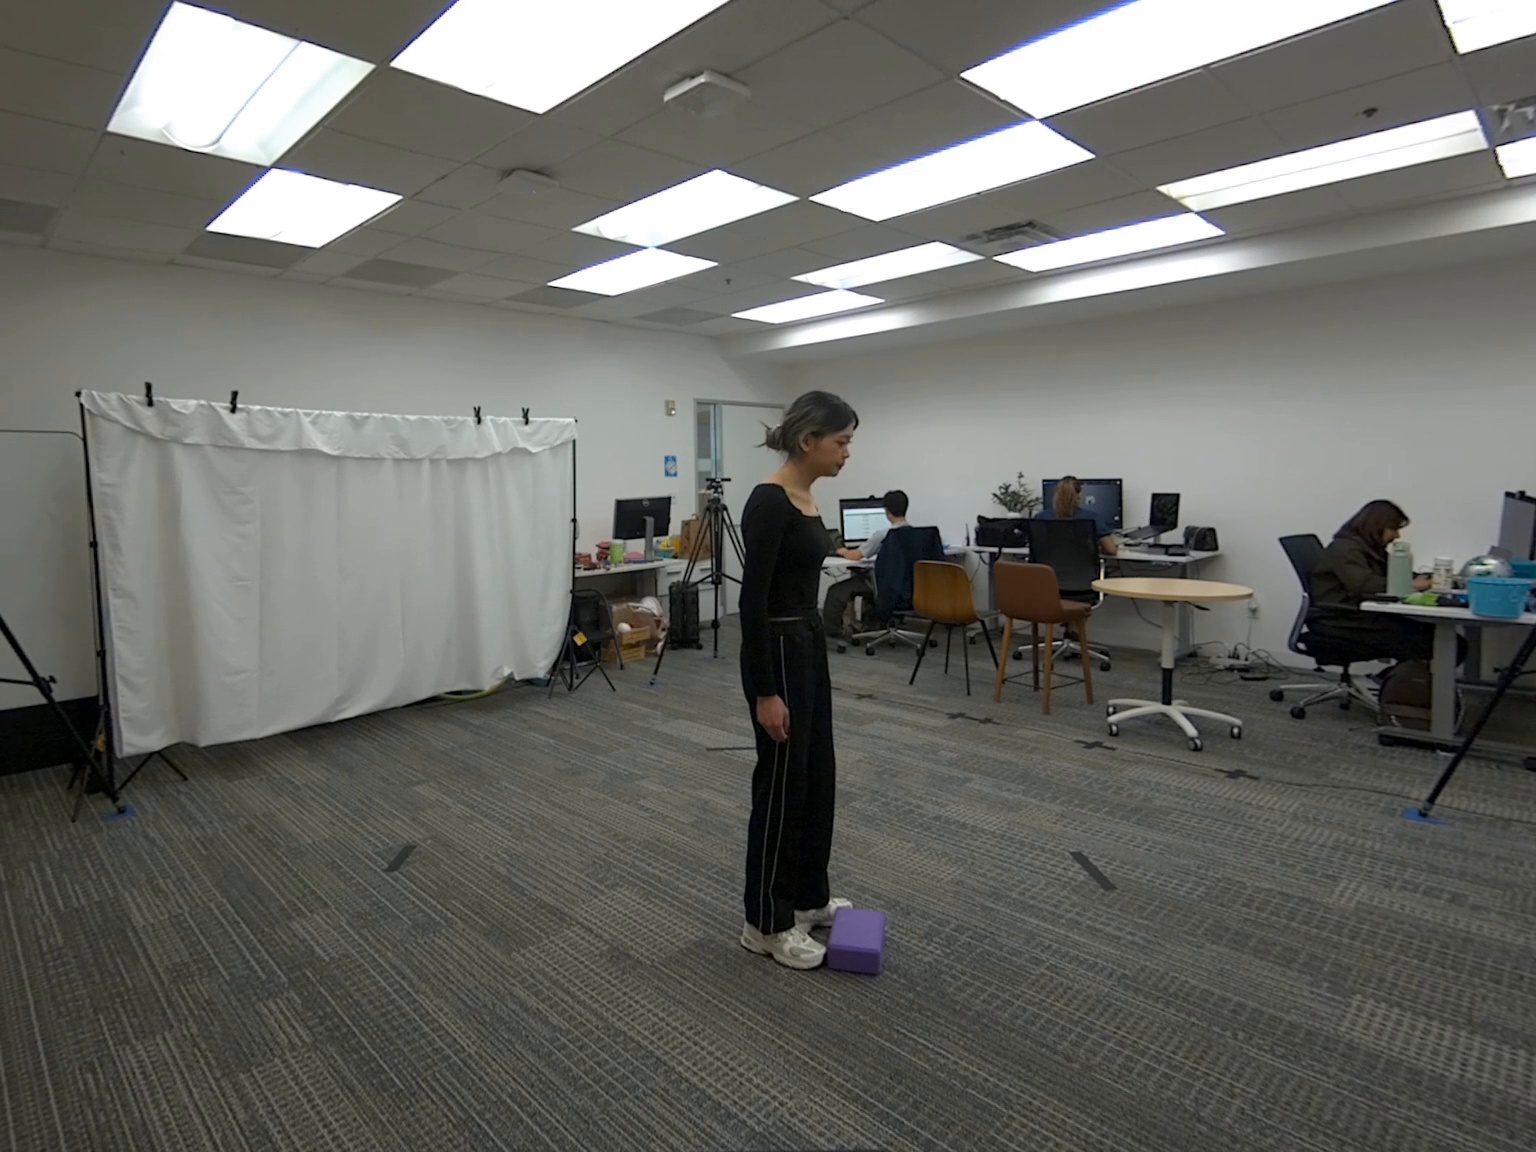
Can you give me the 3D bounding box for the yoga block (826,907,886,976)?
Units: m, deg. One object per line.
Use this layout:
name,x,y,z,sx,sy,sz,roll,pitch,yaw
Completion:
yoga block,0.260,1.062,2.510,0.151,0.076,0.227,0,6,13
